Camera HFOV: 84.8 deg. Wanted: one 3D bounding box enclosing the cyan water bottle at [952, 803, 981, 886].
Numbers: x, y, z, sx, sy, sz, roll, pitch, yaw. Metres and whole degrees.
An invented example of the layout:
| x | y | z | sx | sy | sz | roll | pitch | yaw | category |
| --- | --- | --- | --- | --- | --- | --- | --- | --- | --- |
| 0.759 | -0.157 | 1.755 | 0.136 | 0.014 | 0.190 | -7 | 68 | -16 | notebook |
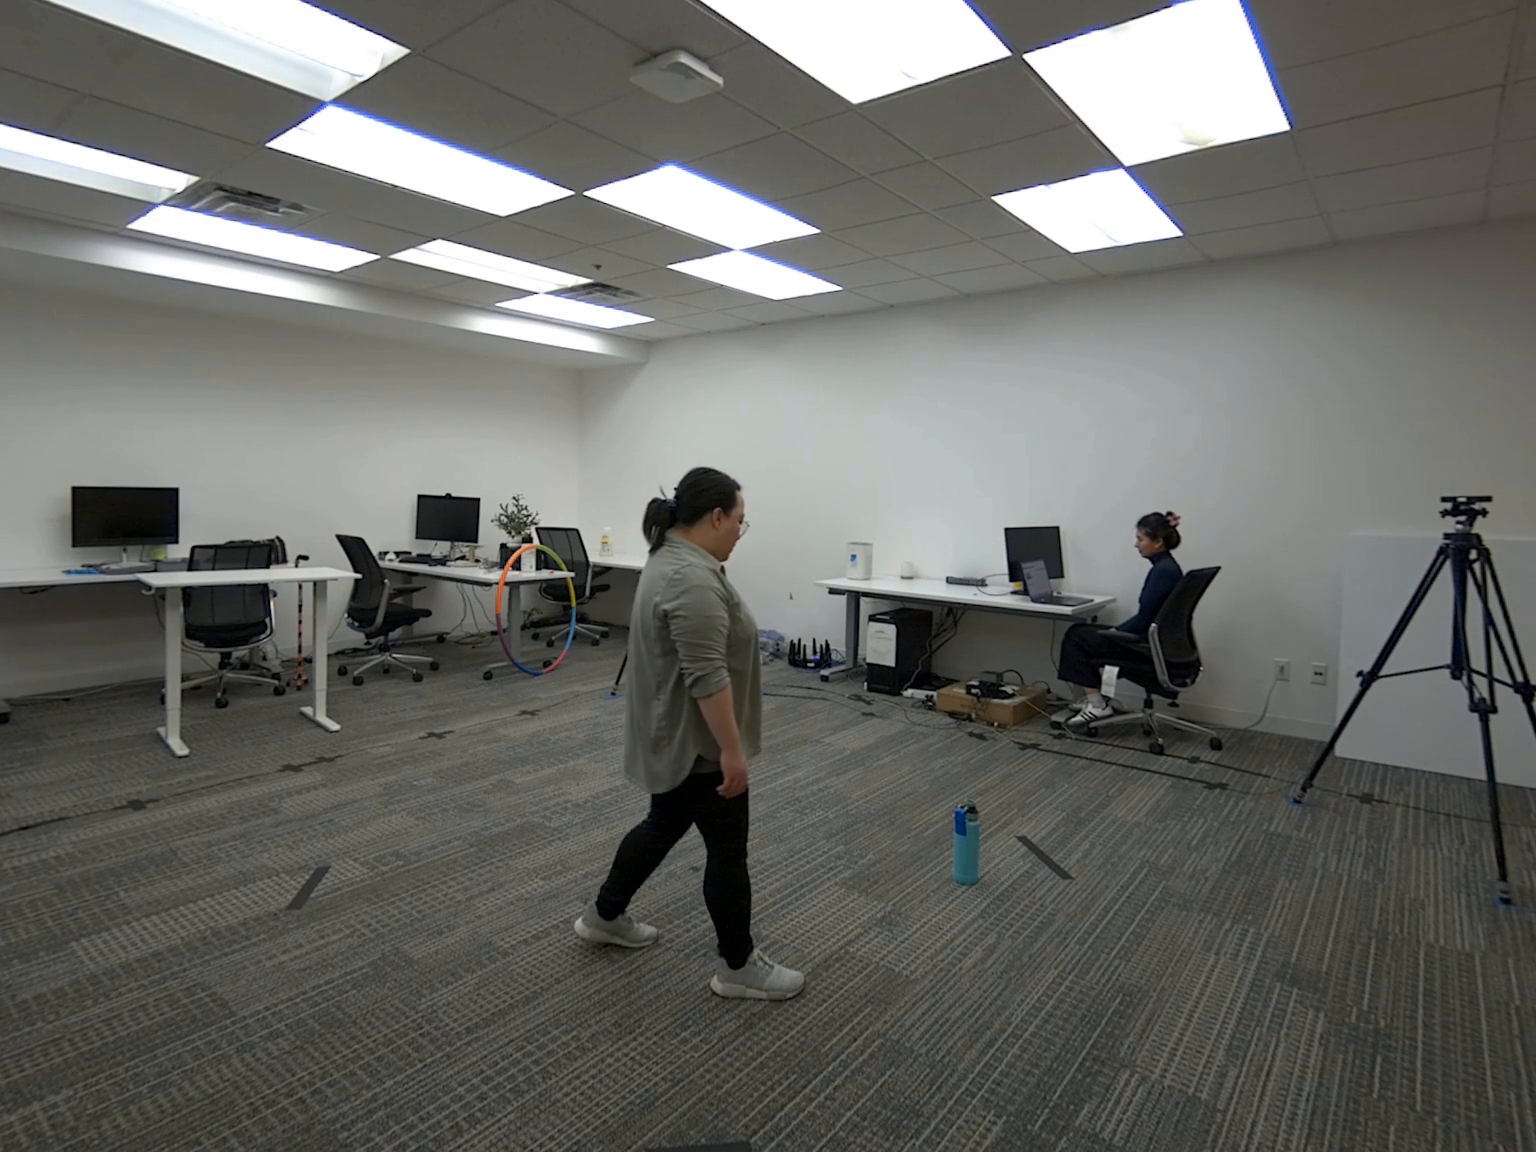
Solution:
| x | y | z | sx | sy | sz | roll | pitch | yaw | category |
| --- | --- | --- | --- | --- | --- | --- | --- | --- | --- |
| 0.711 | 0.951 | 3.060 | 0.092 | 0.282 | 0.093 | 1 | 5 | -2 | cyan water bottle |
